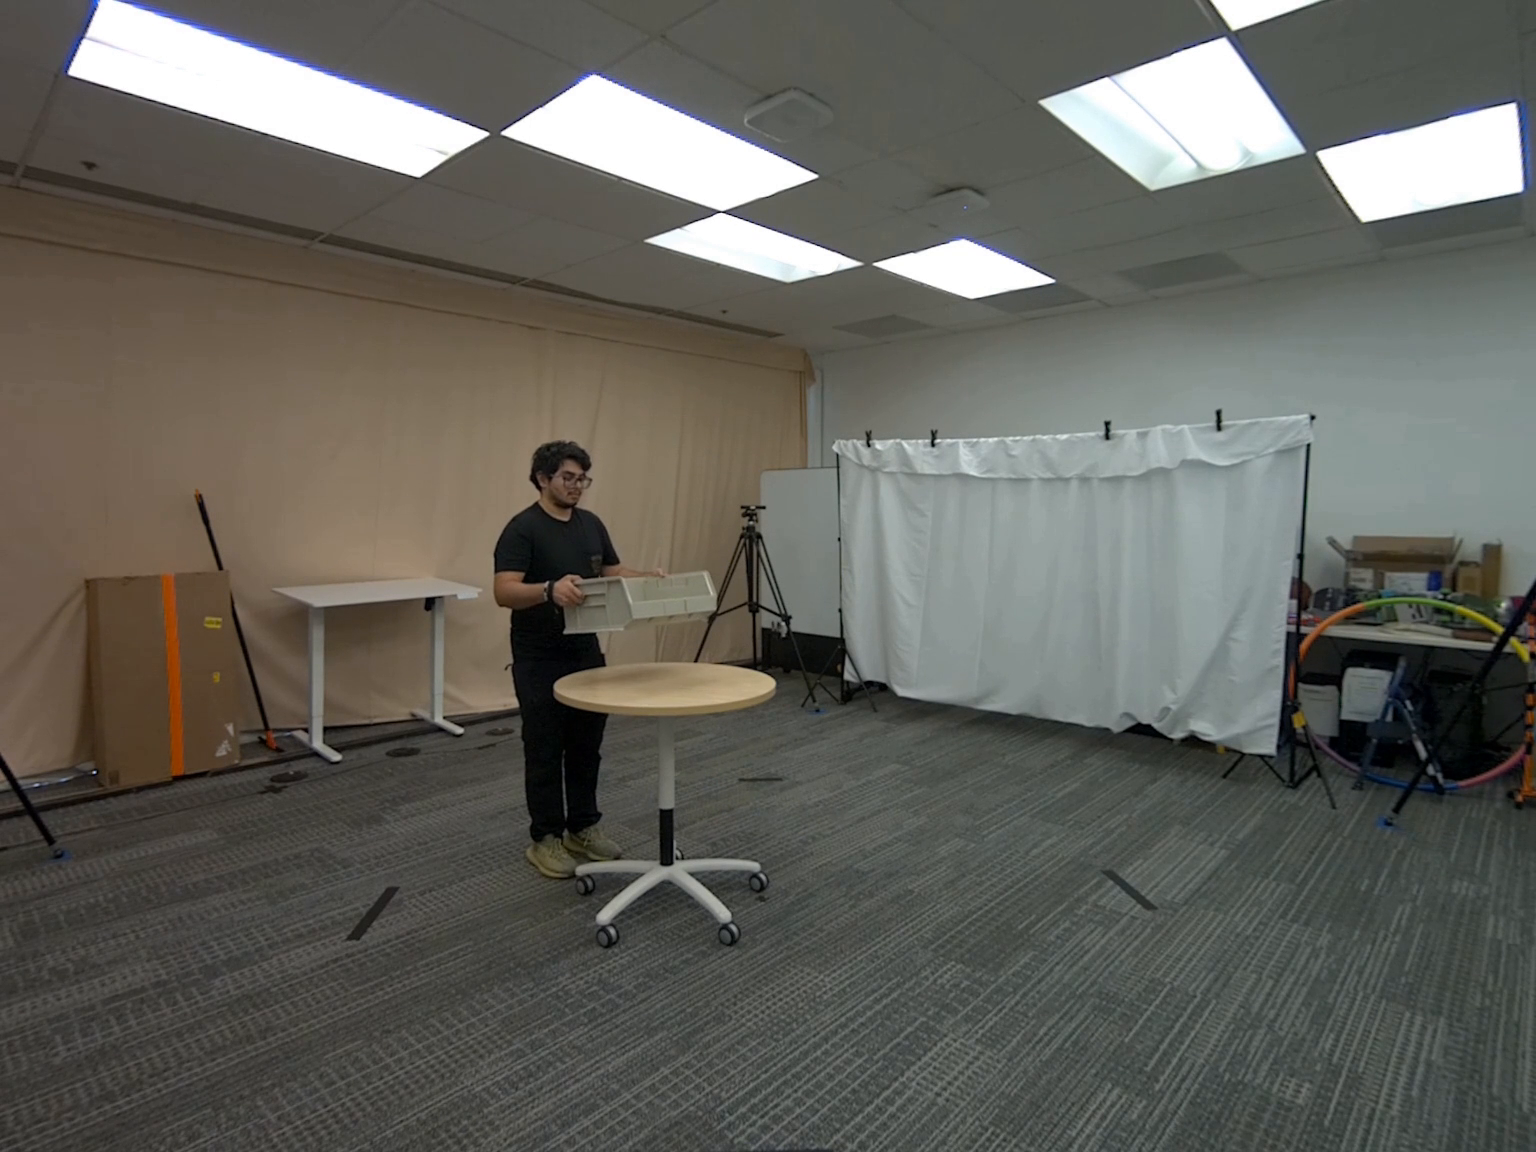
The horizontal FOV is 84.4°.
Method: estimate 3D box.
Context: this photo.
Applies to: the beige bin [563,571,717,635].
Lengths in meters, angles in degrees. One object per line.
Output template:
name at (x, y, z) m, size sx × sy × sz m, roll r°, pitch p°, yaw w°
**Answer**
beige bin at (-0.451, 0.095, 2.968) m, size 0.388 × 0.189 × 0.409 m, roll -7°, pitch -2°, yaw 40°
